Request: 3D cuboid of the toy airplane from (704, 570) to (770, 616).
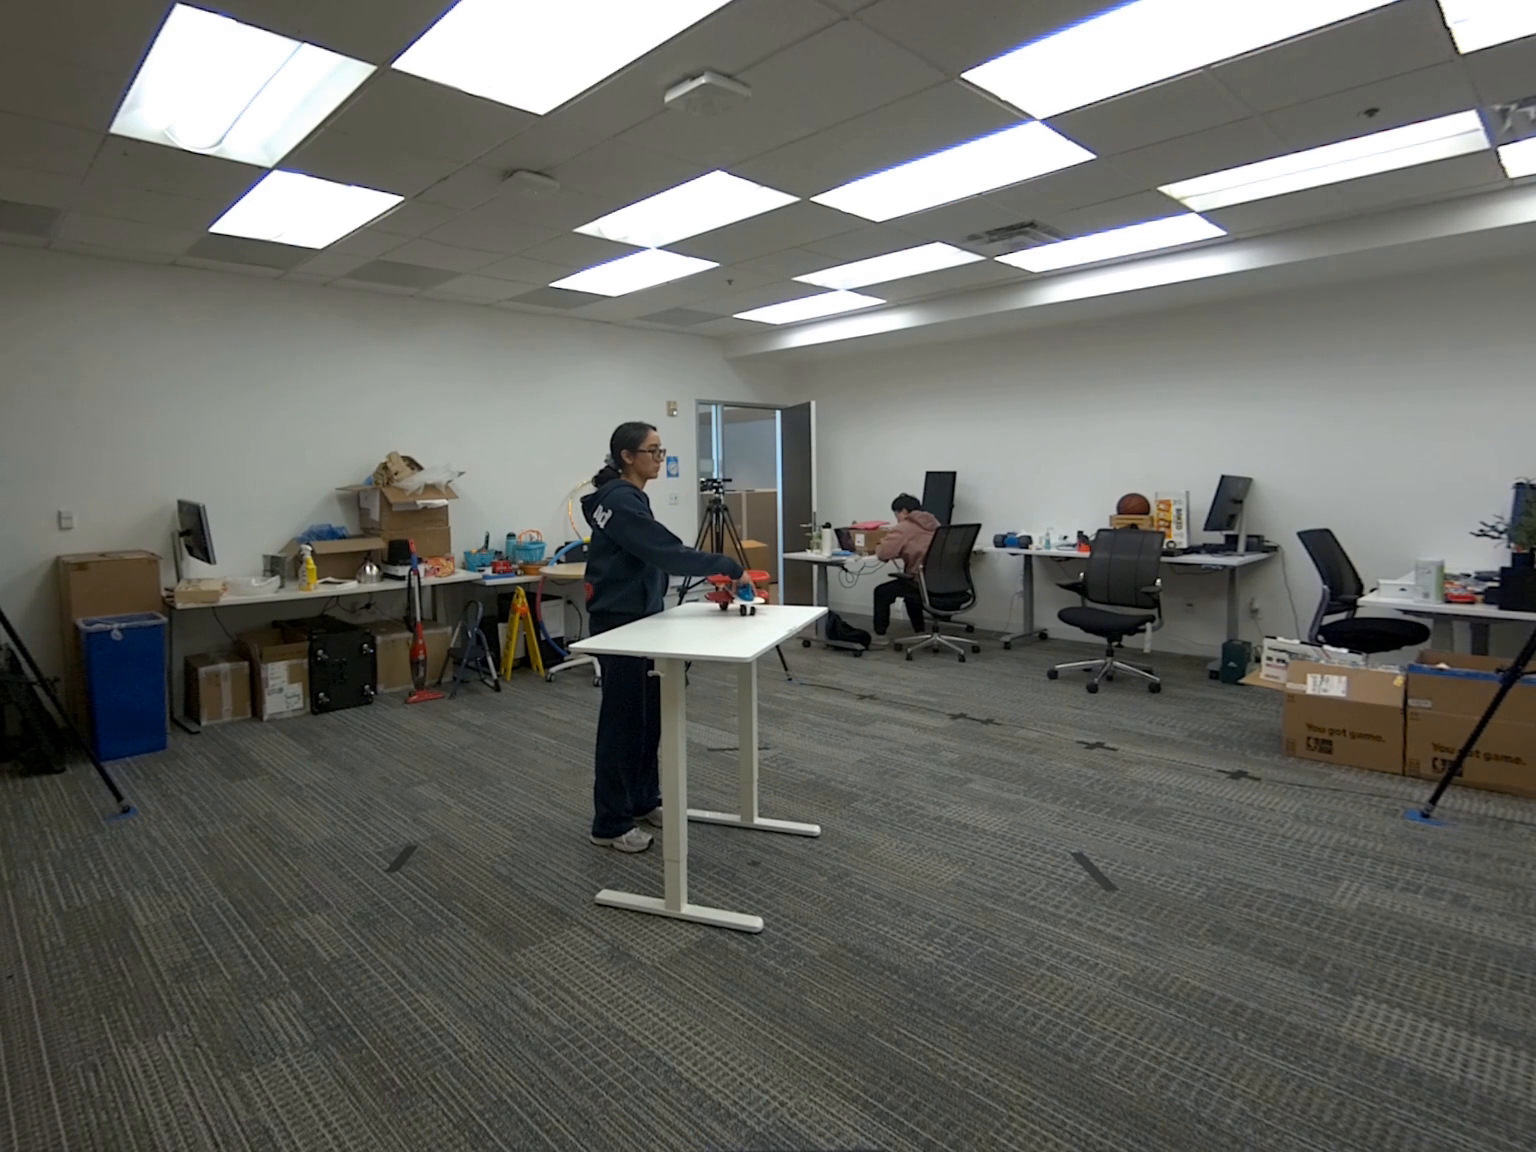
[{"bbox_3d":[-0.098,0.065,3.314,0.244,0.156,0.267,-3,4,-44],"label":"toy airplane"}]
